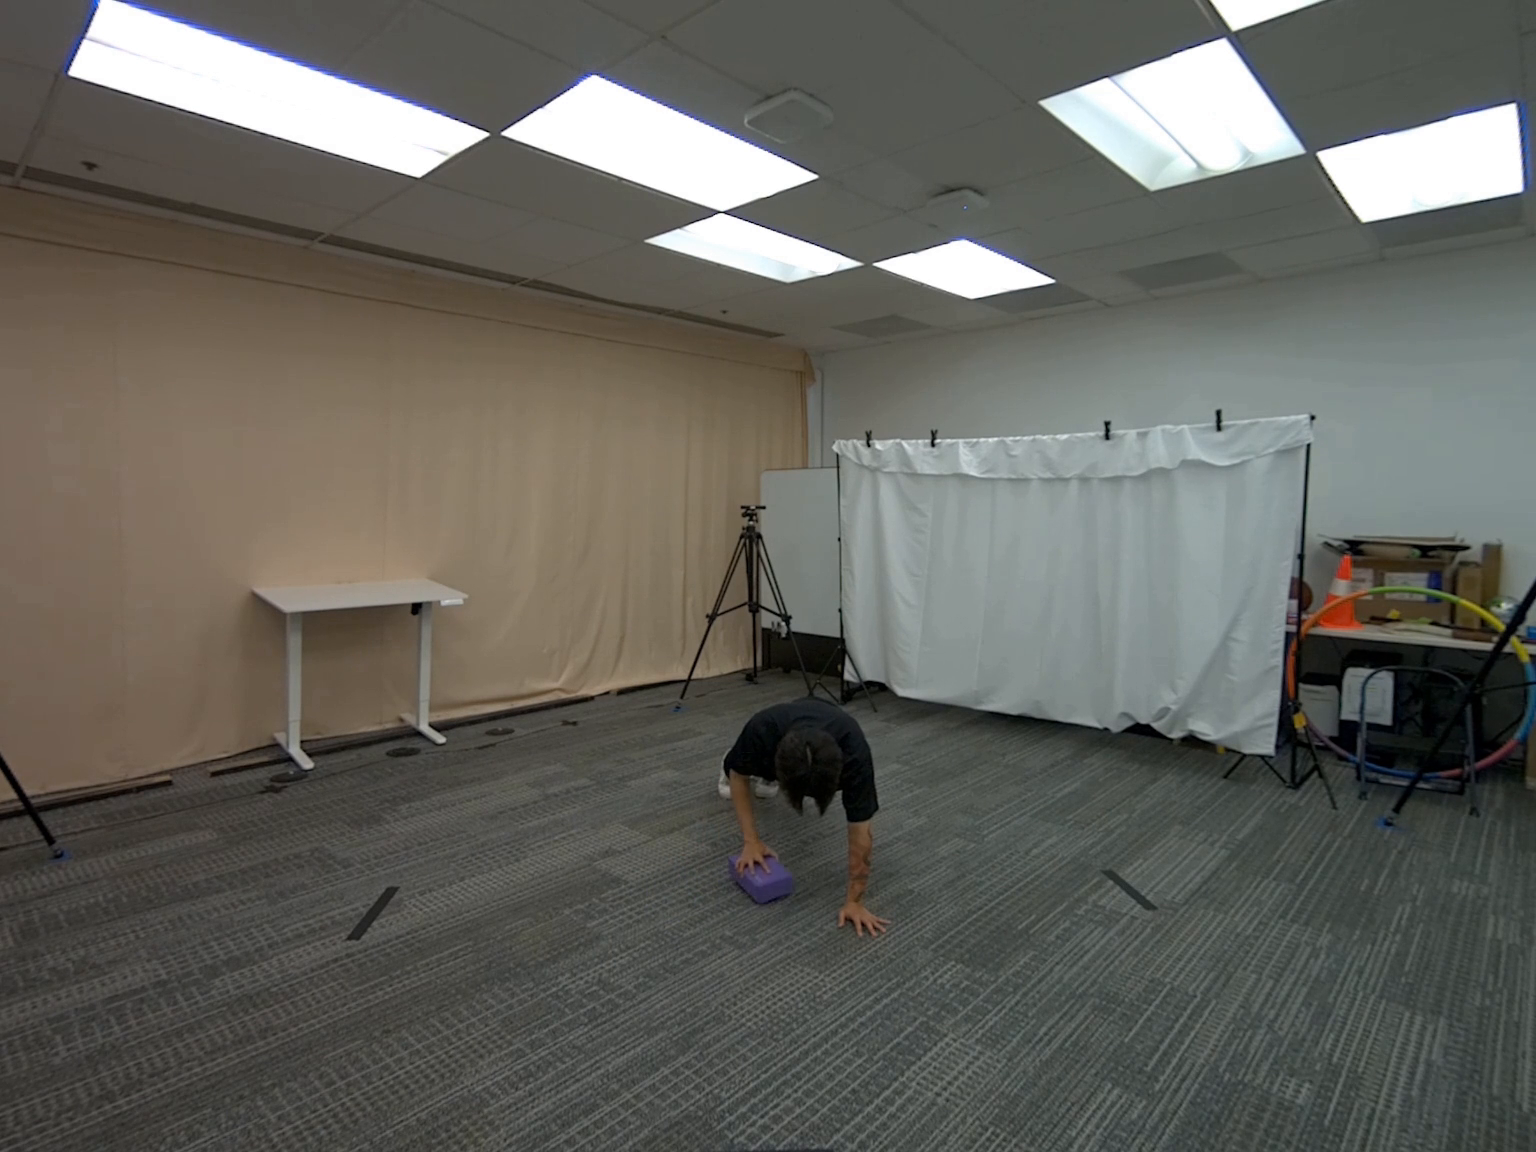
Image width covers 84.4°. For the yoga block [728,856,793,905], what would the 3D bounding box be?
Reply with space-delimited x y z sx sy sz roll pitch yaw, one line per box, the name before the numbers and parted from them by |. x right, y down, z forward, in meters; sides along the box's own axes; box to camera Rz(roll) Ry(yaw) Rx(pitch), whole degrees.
yoga block | -0.027 1.075 3.048 0.146 0.076 0.236 -9 12 -26
